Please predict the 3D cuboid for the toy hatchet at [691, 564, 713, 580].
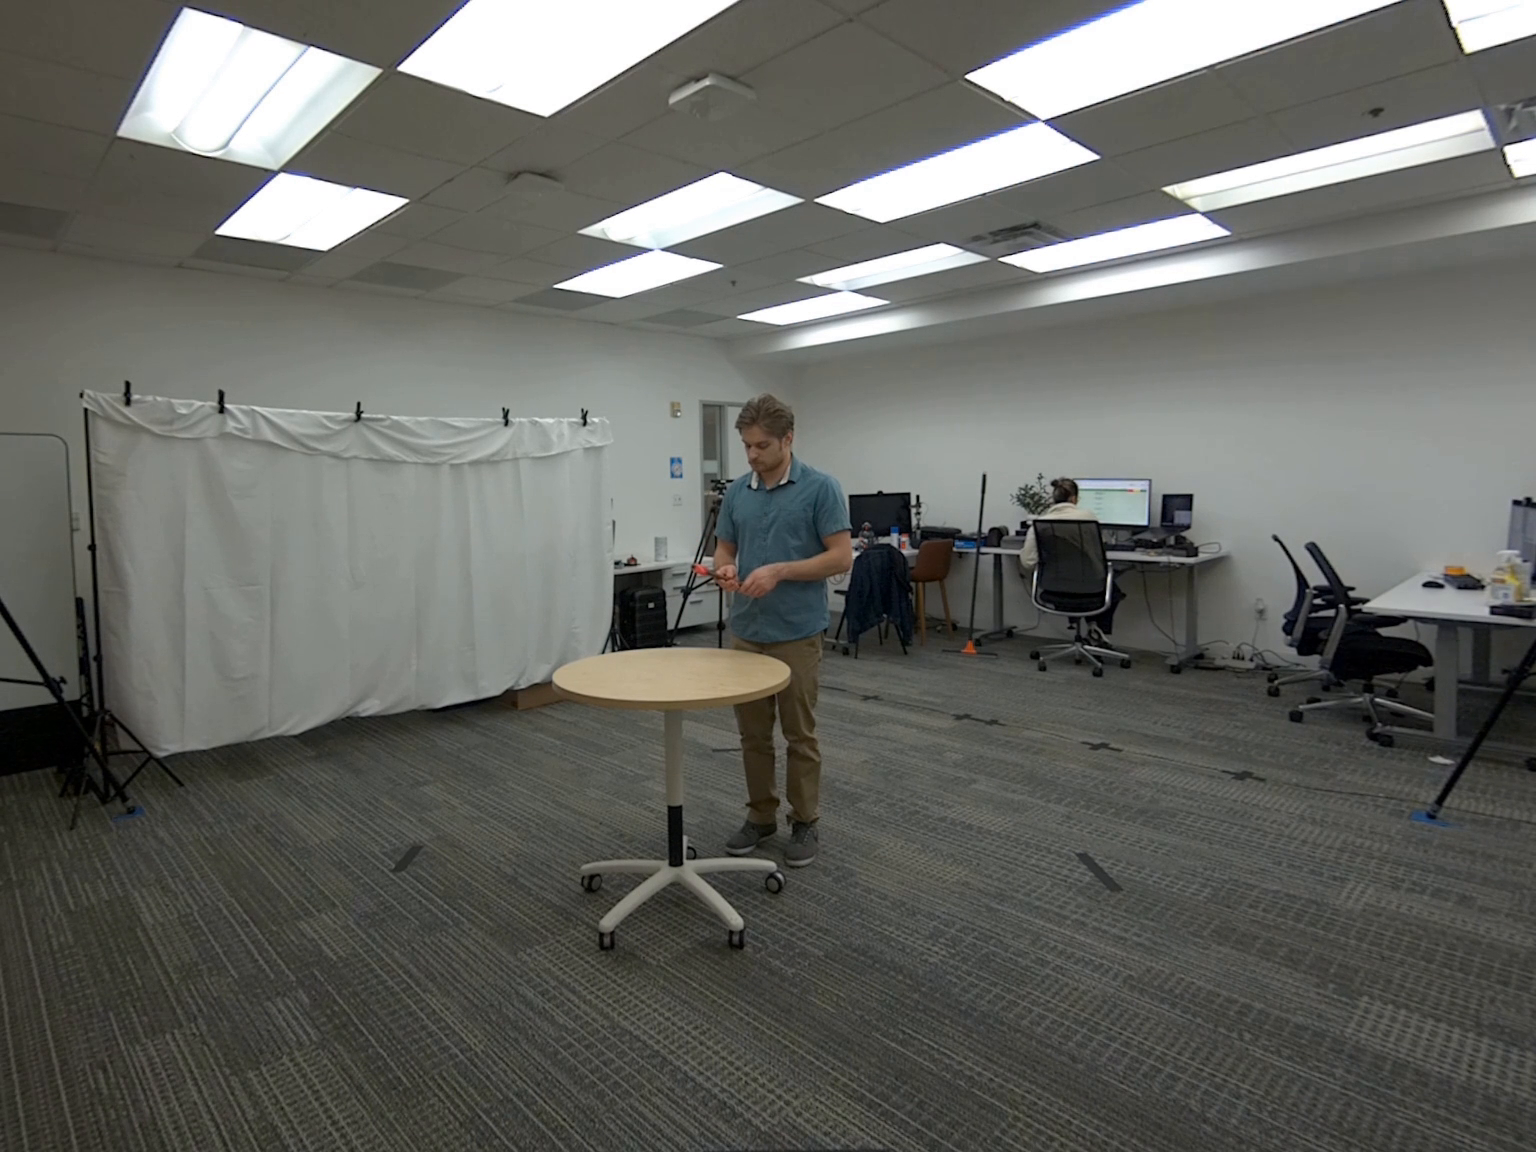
[{"bbox_3d":[-0.145,0.001,2.986,0.262,0.029,0.135,16,4,-32],"label":"toy hatchet"}]
